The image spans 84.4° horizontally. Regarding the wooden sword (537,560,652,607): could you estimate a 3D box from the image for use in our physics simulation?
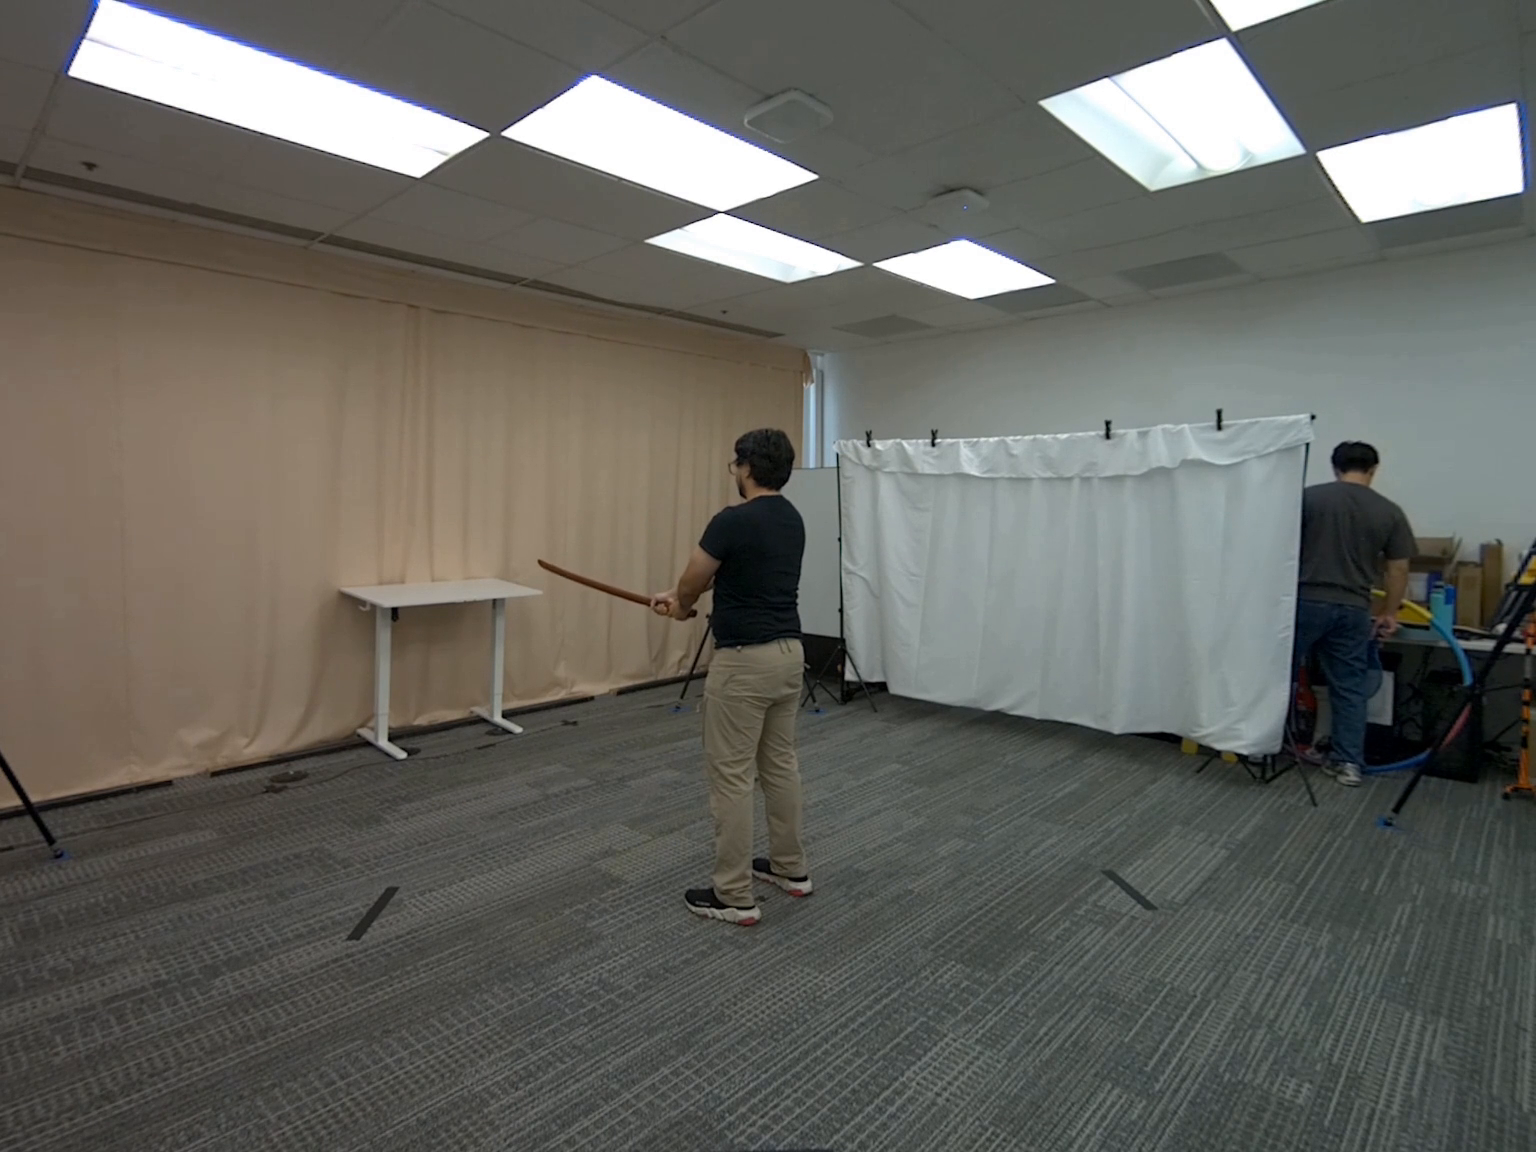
[{"bbox_3d":[-0.687,0.054,3.543,1.061,0.024,0.049,16,-12,39],"label":"wooden sword"}]
